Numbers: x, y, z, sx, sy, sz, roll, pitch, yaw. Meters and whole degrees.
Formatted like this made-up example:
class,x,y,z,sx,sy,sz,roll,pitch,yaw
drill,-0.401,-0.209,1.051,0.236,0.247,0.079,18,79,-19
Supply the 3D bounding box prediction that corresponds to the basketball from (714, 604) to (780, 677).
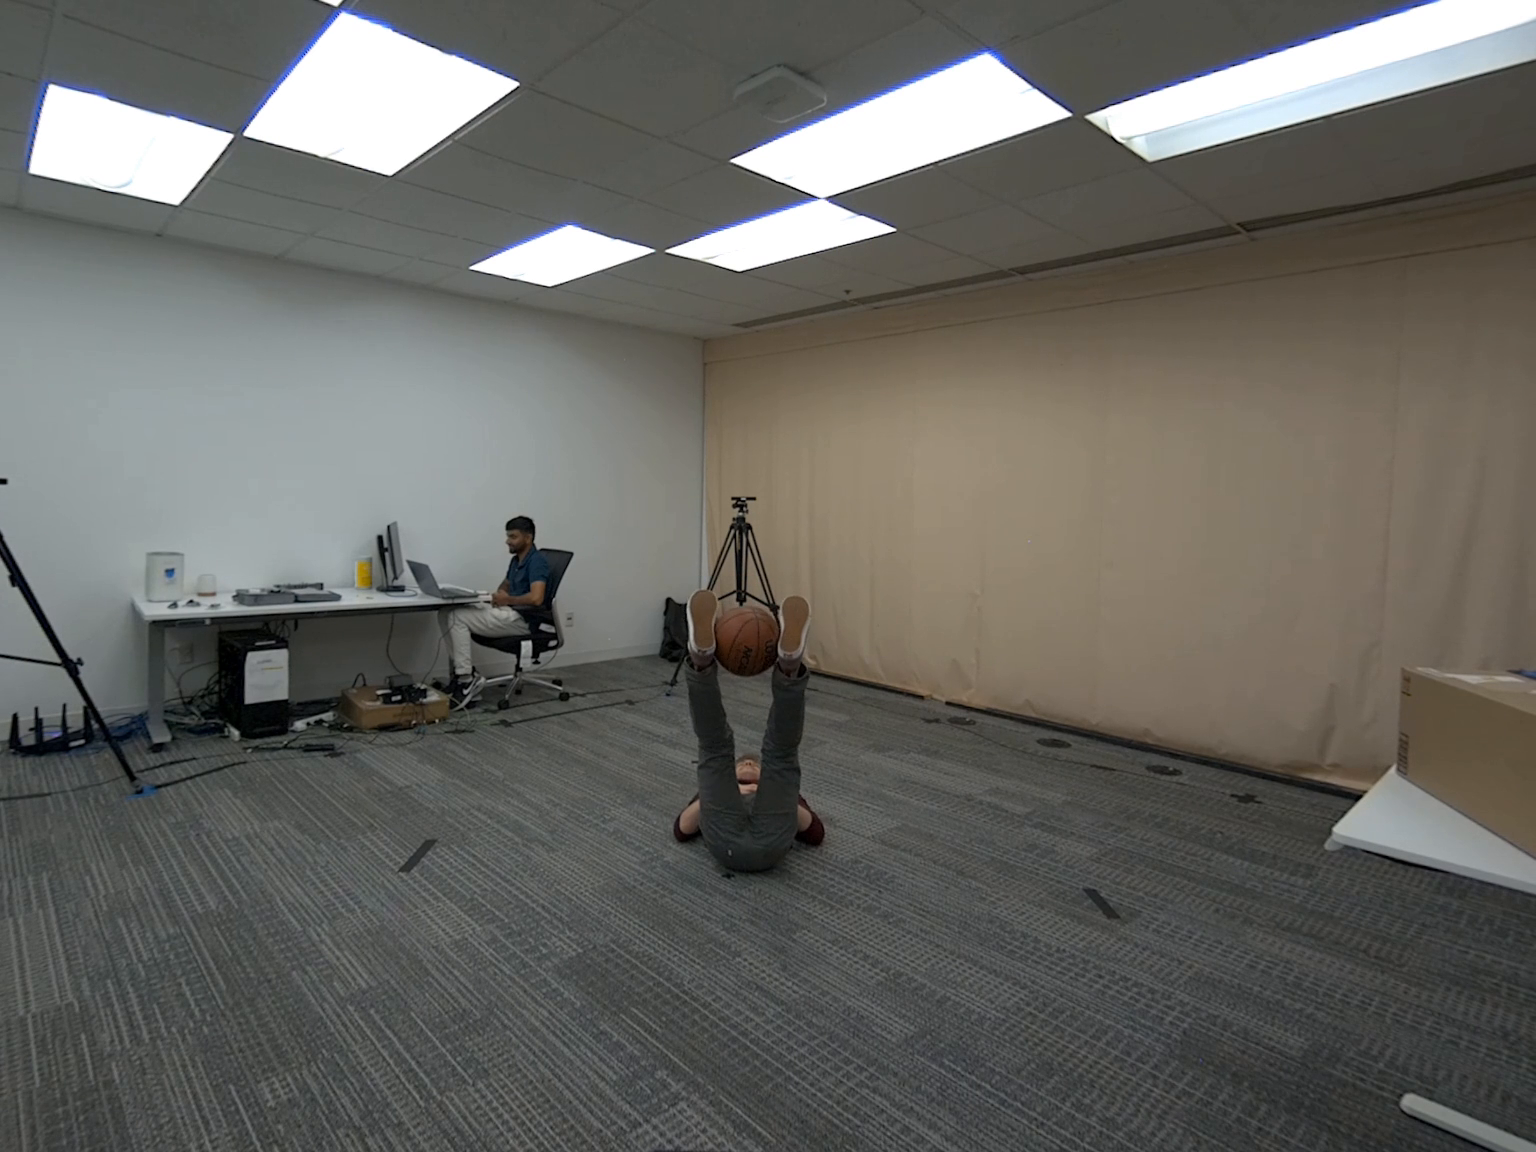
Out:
class,x,y,z,sx,sy,sz,roll,pitch,yaw
basketball,-0.084,0.219,2.862,0.236,0.234,0.237,0,7,-1
